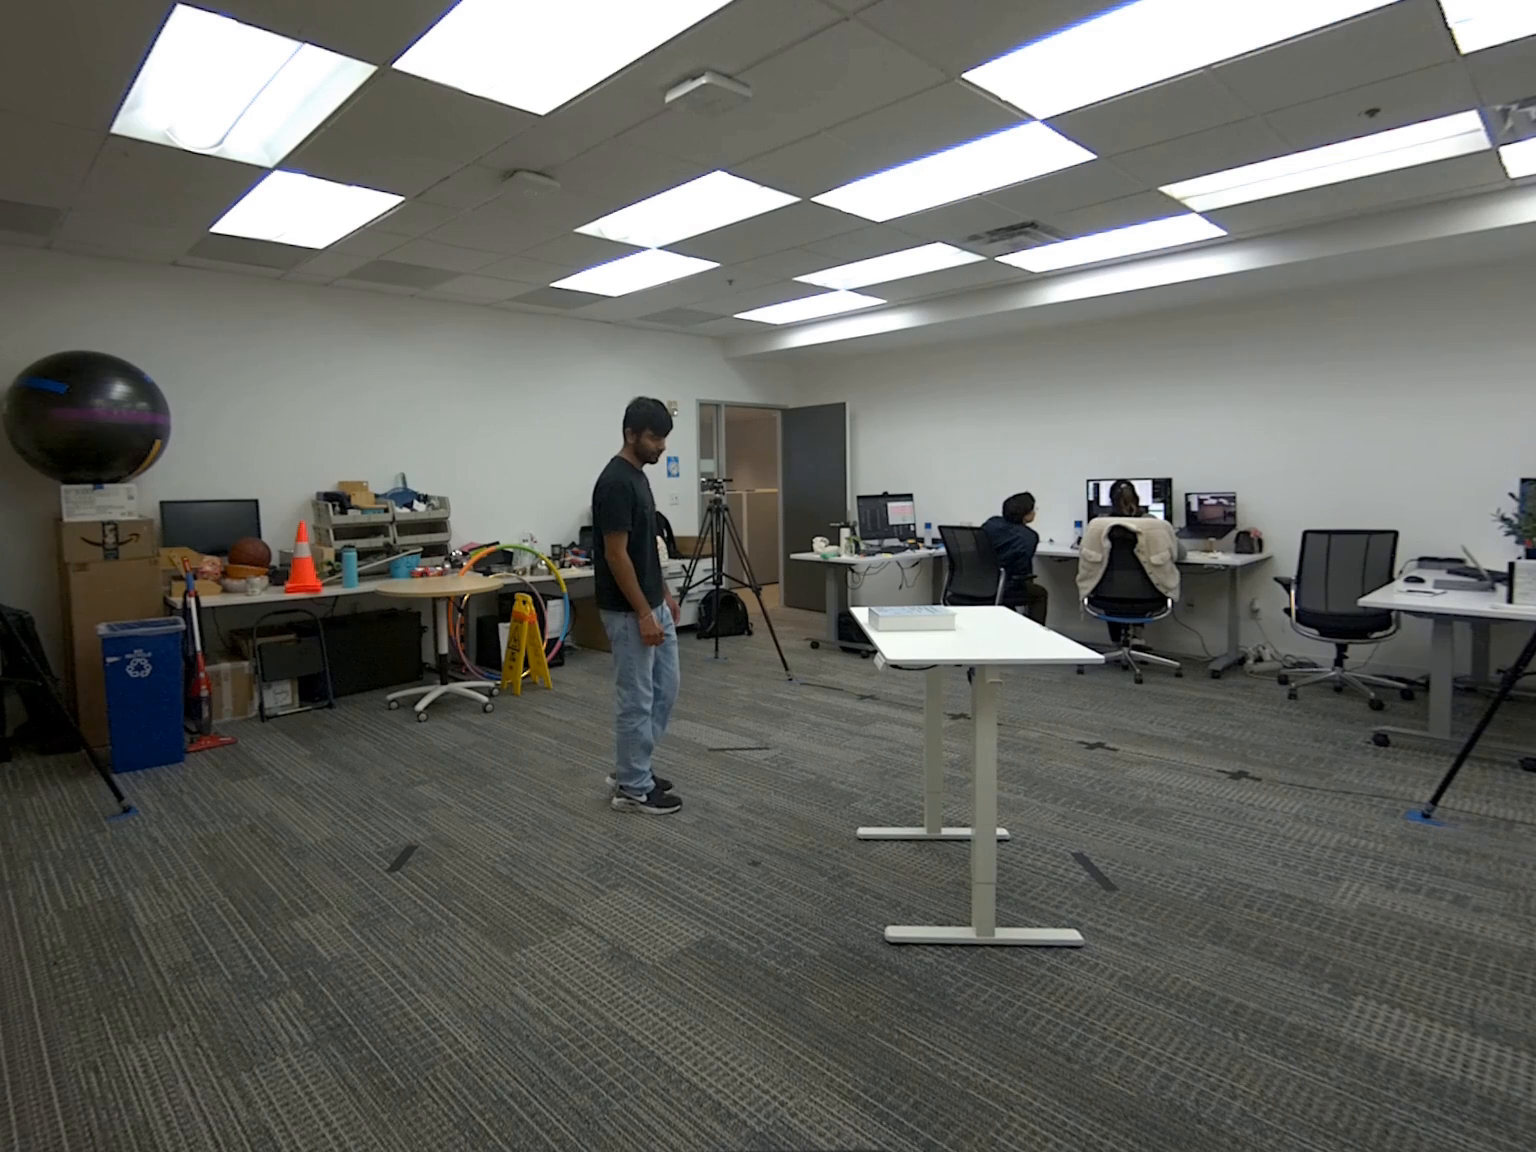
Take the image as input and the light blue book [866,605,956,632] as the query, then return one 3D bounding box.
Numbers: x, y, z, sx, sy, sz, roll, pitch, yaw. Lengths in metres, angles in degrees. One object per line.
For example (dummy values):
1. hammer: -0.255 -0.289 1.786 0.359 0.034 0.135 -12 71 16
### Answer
1. light blue book: 0.490 0.144 2.920 0.261 0.059 0.192 -1 5 -1
